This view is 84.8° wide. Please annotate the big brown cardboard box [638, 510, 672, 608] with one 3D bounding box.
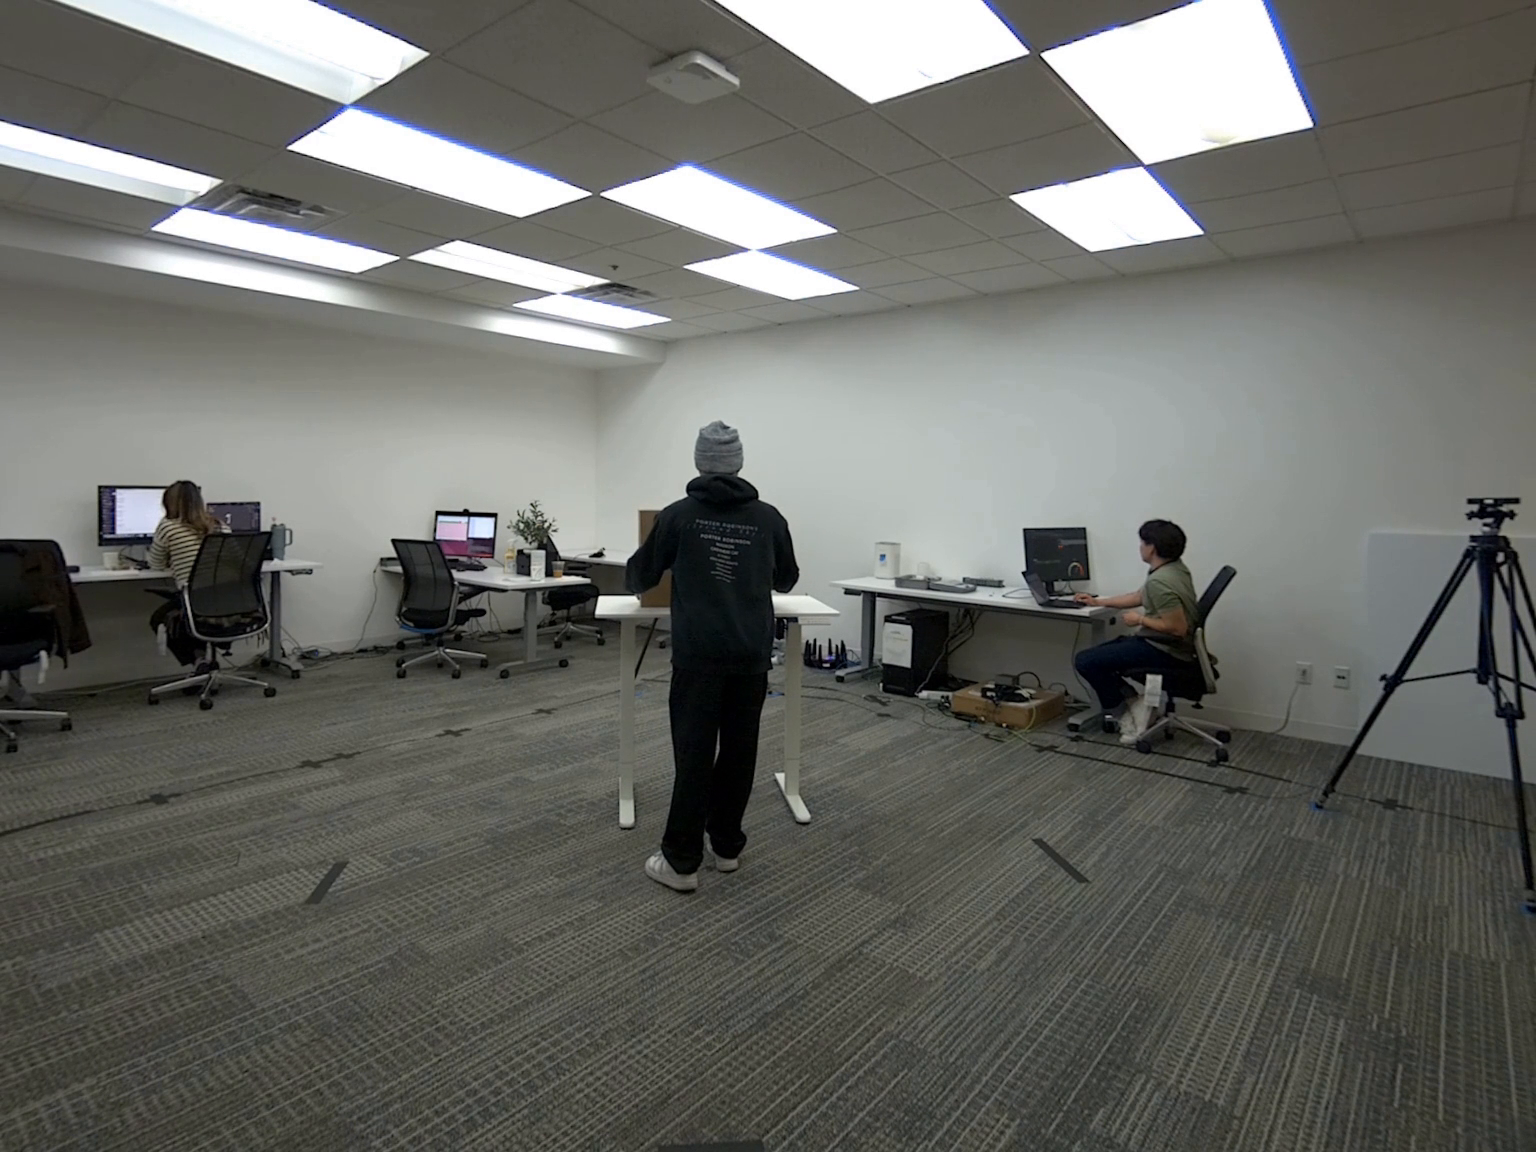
[{"bbox_3d":[-0.286,-0.086,3.728,0.584,0.416,0.236,1,3,-8],"label":"big brown cardboard box"}]
